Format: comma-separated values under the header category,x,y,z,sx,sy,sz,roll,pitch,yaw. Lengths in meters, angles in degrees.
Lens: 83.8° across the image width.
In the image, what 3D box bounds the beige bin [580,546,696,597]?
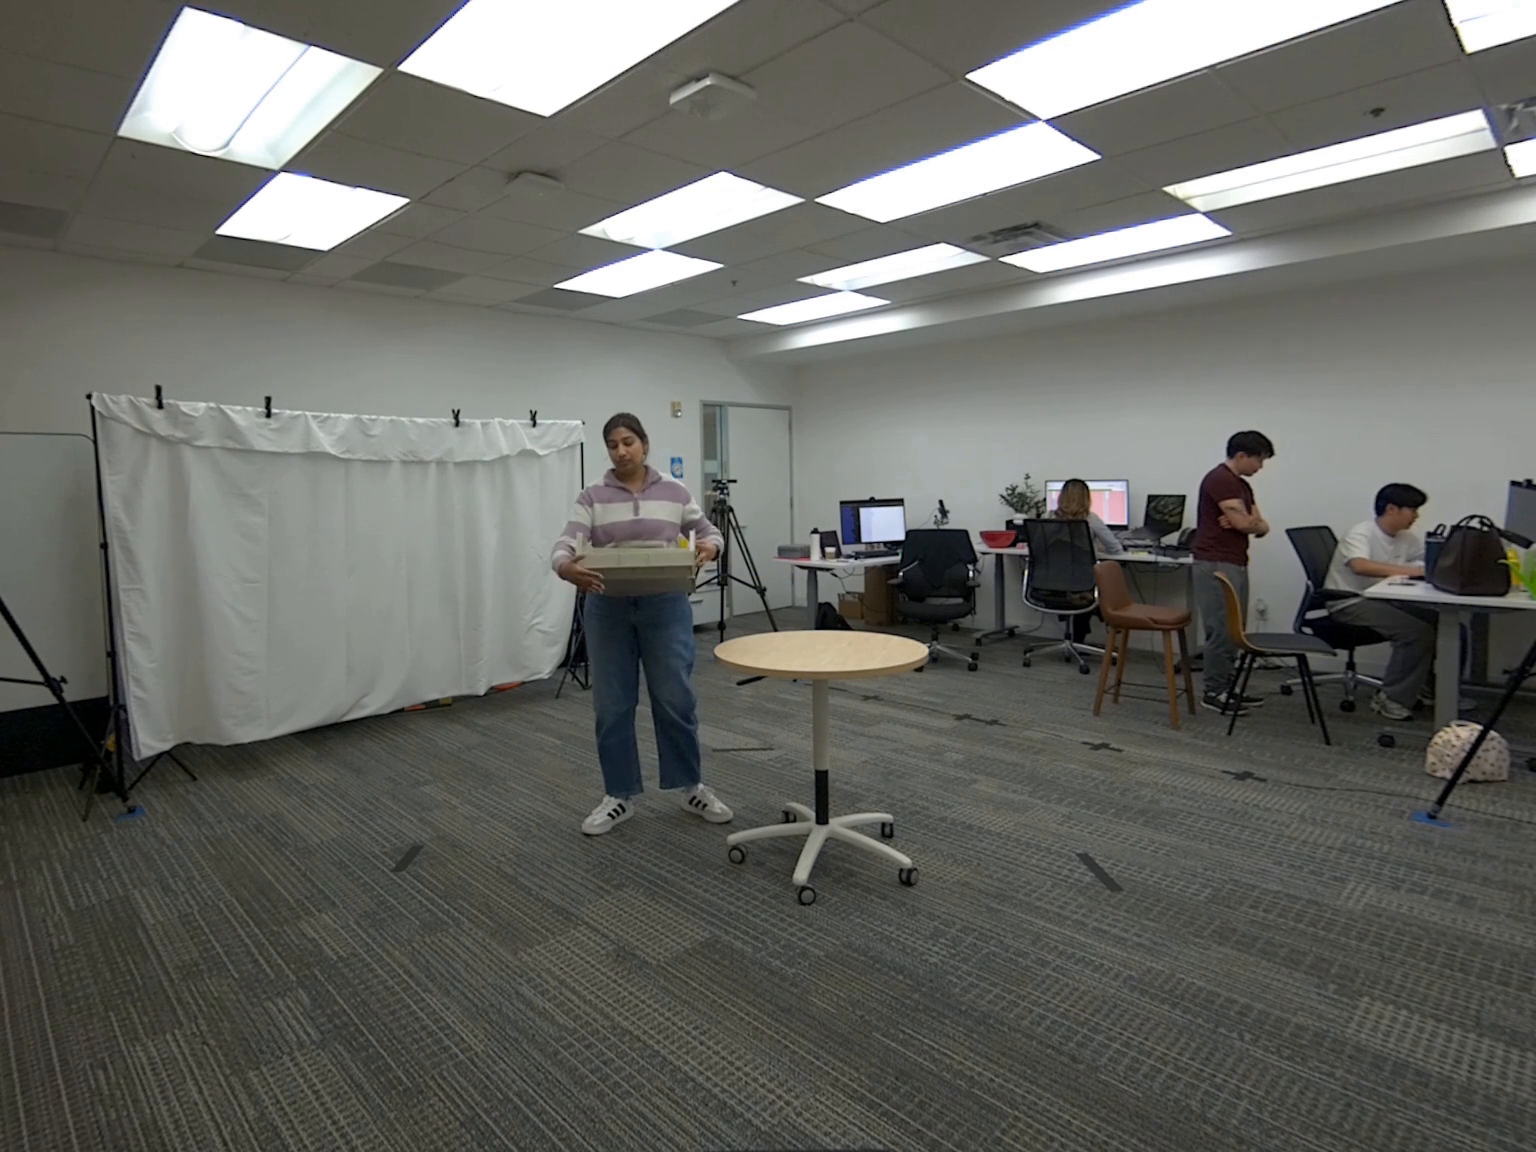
category,x,y,z,sx,sy,sz,roll,pitch,yaw
beige bin,-0.480,-0.044,3.171,0.421,0.191,0.374,-2,-11,-3
